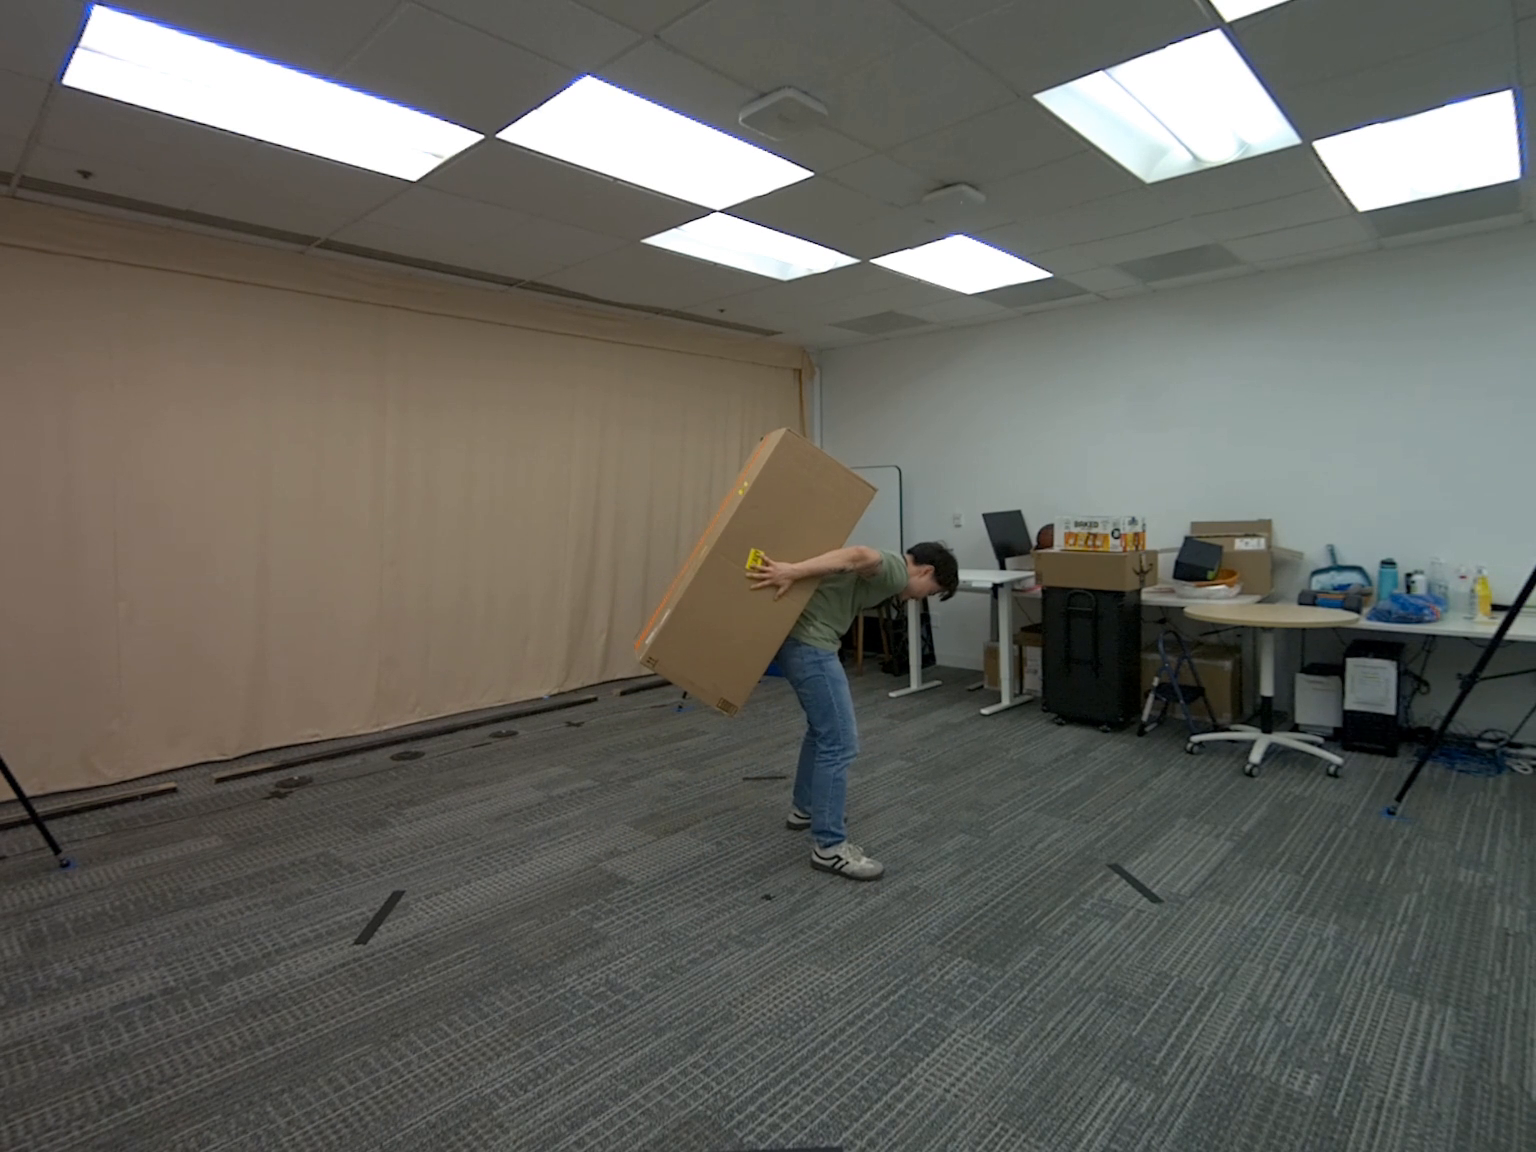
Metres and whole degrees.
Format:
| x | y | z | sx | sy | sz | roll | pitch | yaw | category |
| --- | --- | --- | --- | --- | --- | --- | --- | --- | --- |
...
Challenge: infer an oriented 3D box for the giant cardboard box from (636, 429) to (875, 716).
| x | y | z | sx | sy | sz | roll | pitch | yaw | category |
| --- | --- | --- | --- | --- | --- | --- | --- | --- | --- |
| -0.076 | -0.030 | 3.390 | 0.422 | 1.025 | 0.583 | 32 | -2 | -9 | giant cardboard box |
